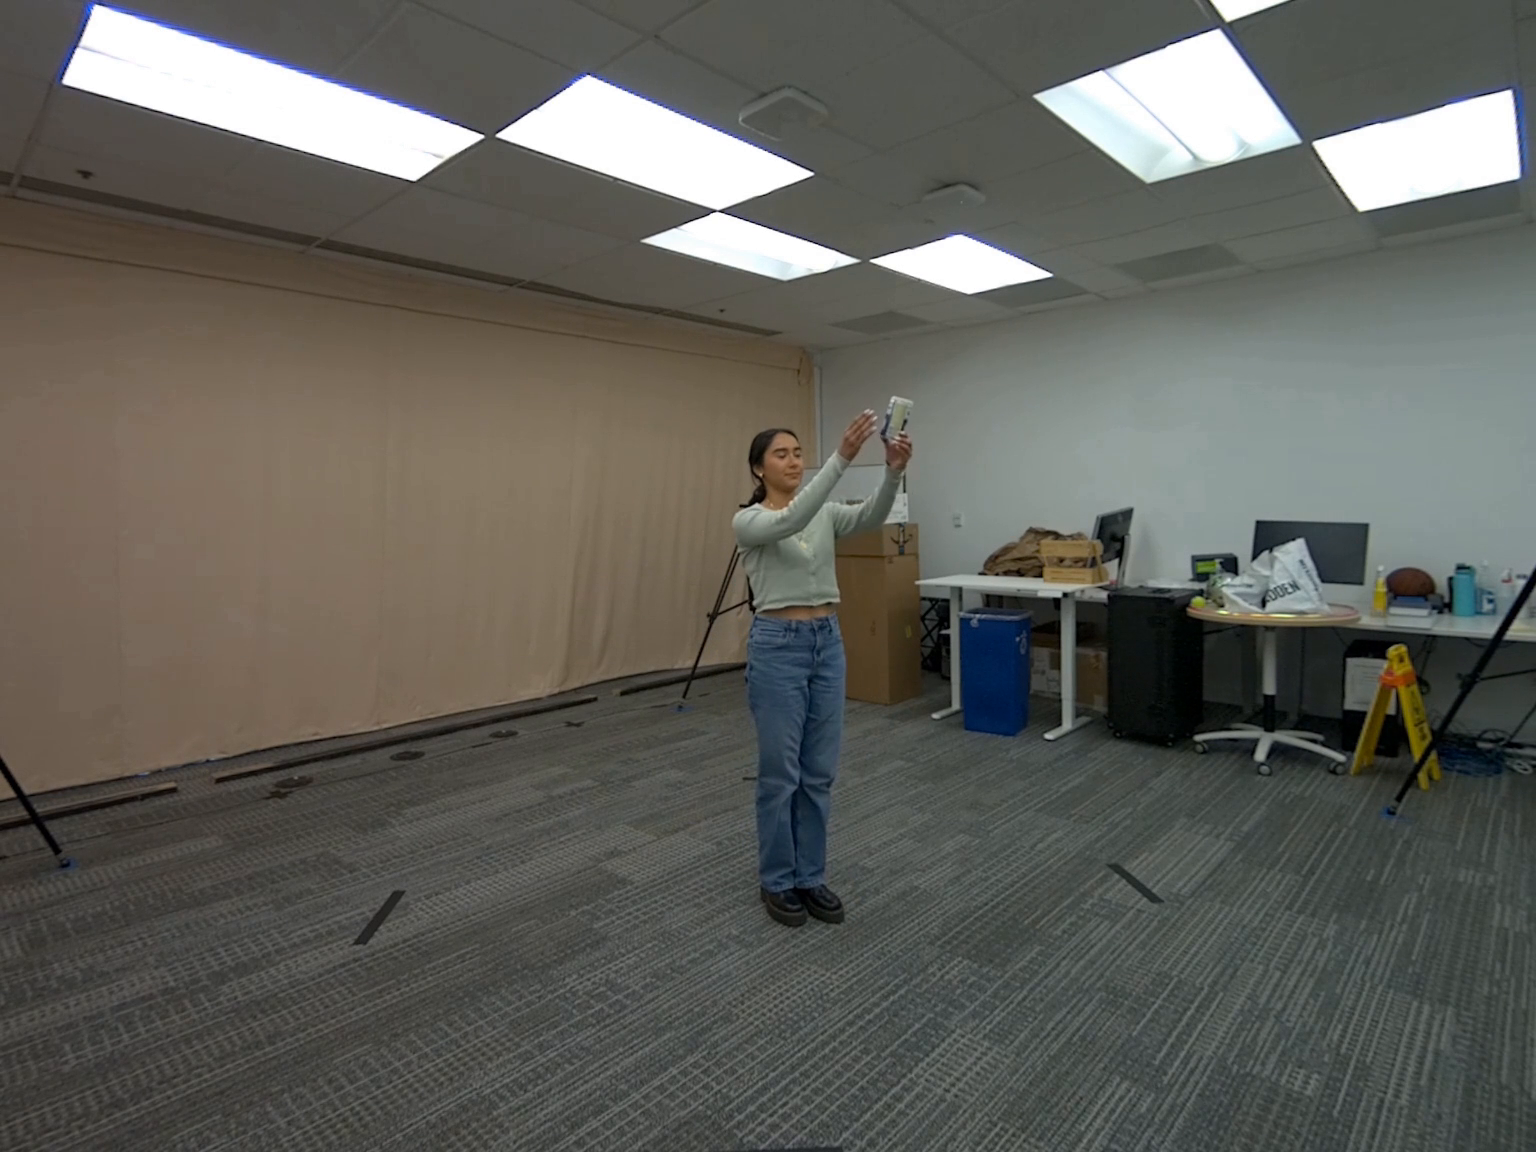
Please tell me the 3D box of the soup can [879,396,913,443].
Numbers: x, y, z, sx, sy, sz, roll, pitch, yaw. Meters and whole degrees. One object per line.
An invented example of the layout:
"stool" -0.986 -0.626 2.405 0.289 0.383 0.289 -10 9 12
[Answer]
"soup can" 0.358 -0.441 2.425 0.067 0.121 0.068 11 12 -4
